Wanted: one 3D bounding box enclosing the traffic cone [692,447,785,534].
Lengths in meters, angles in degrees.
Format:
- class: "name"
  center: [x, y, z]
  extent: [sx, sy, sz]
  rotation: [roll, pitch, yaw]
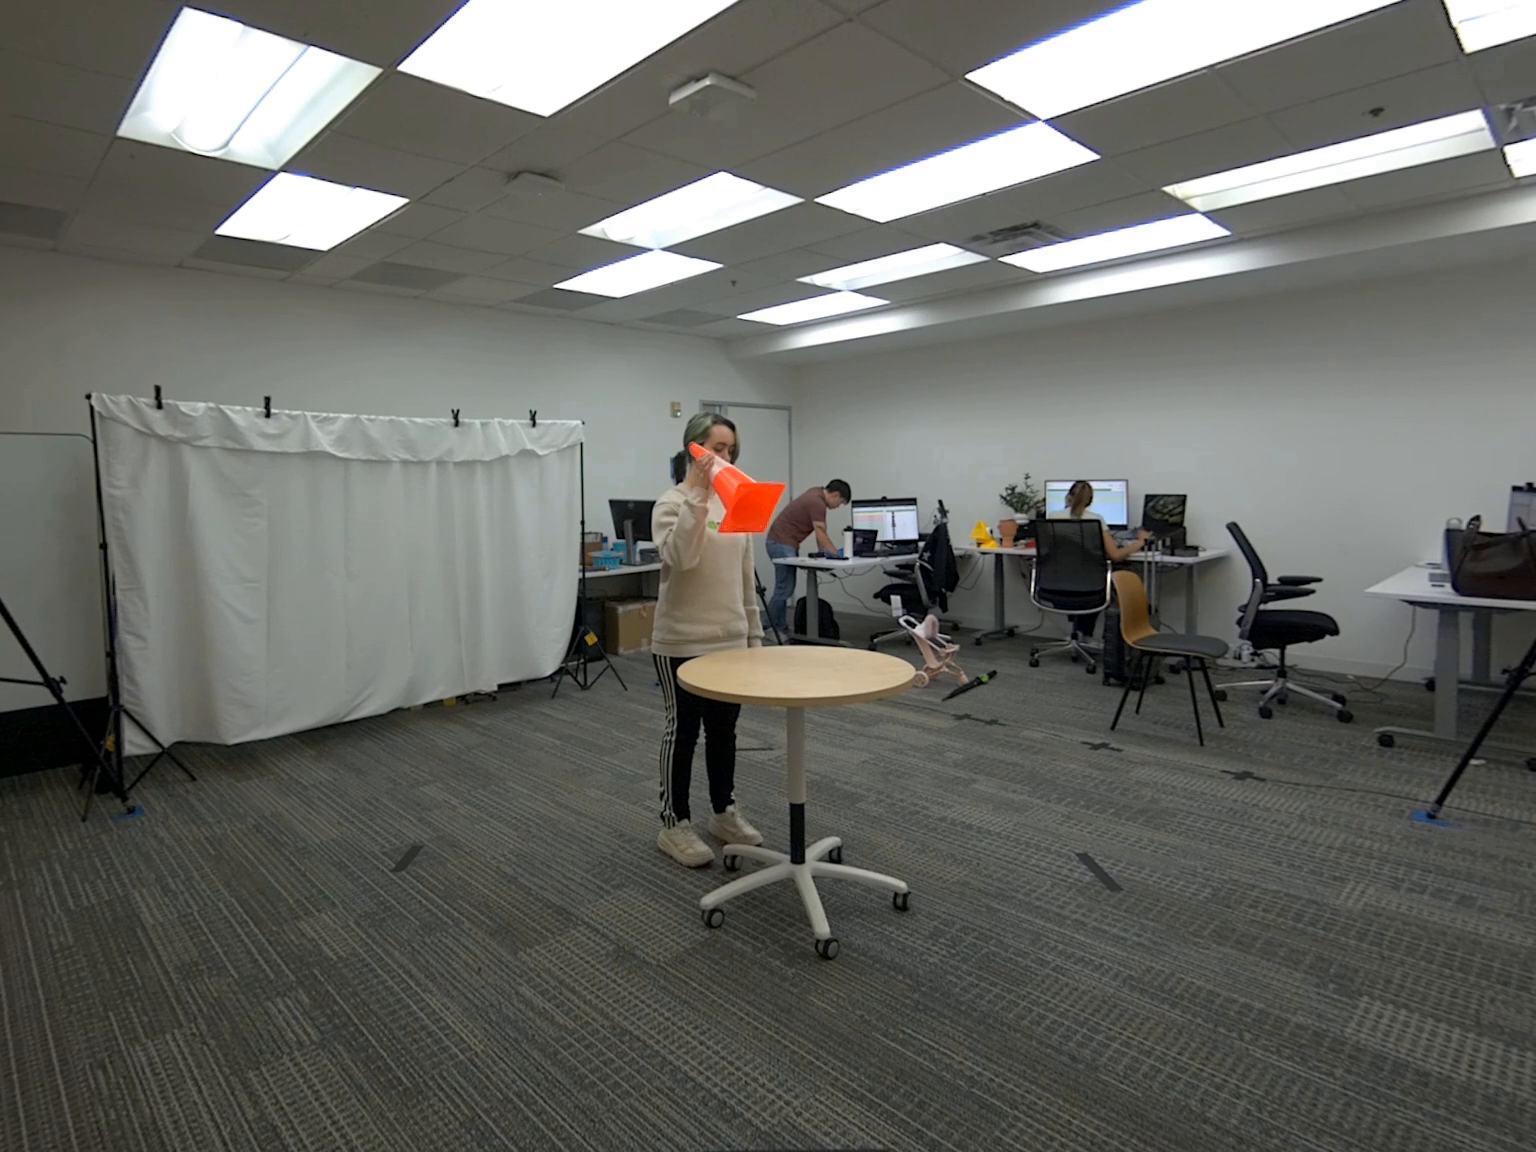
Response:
- class: "traffic cone"
  center: [-0.149, -0.328, 2.879]
  extent: [0.199, 0.201, 0.399]
  rotation: [0, 37, -41]
